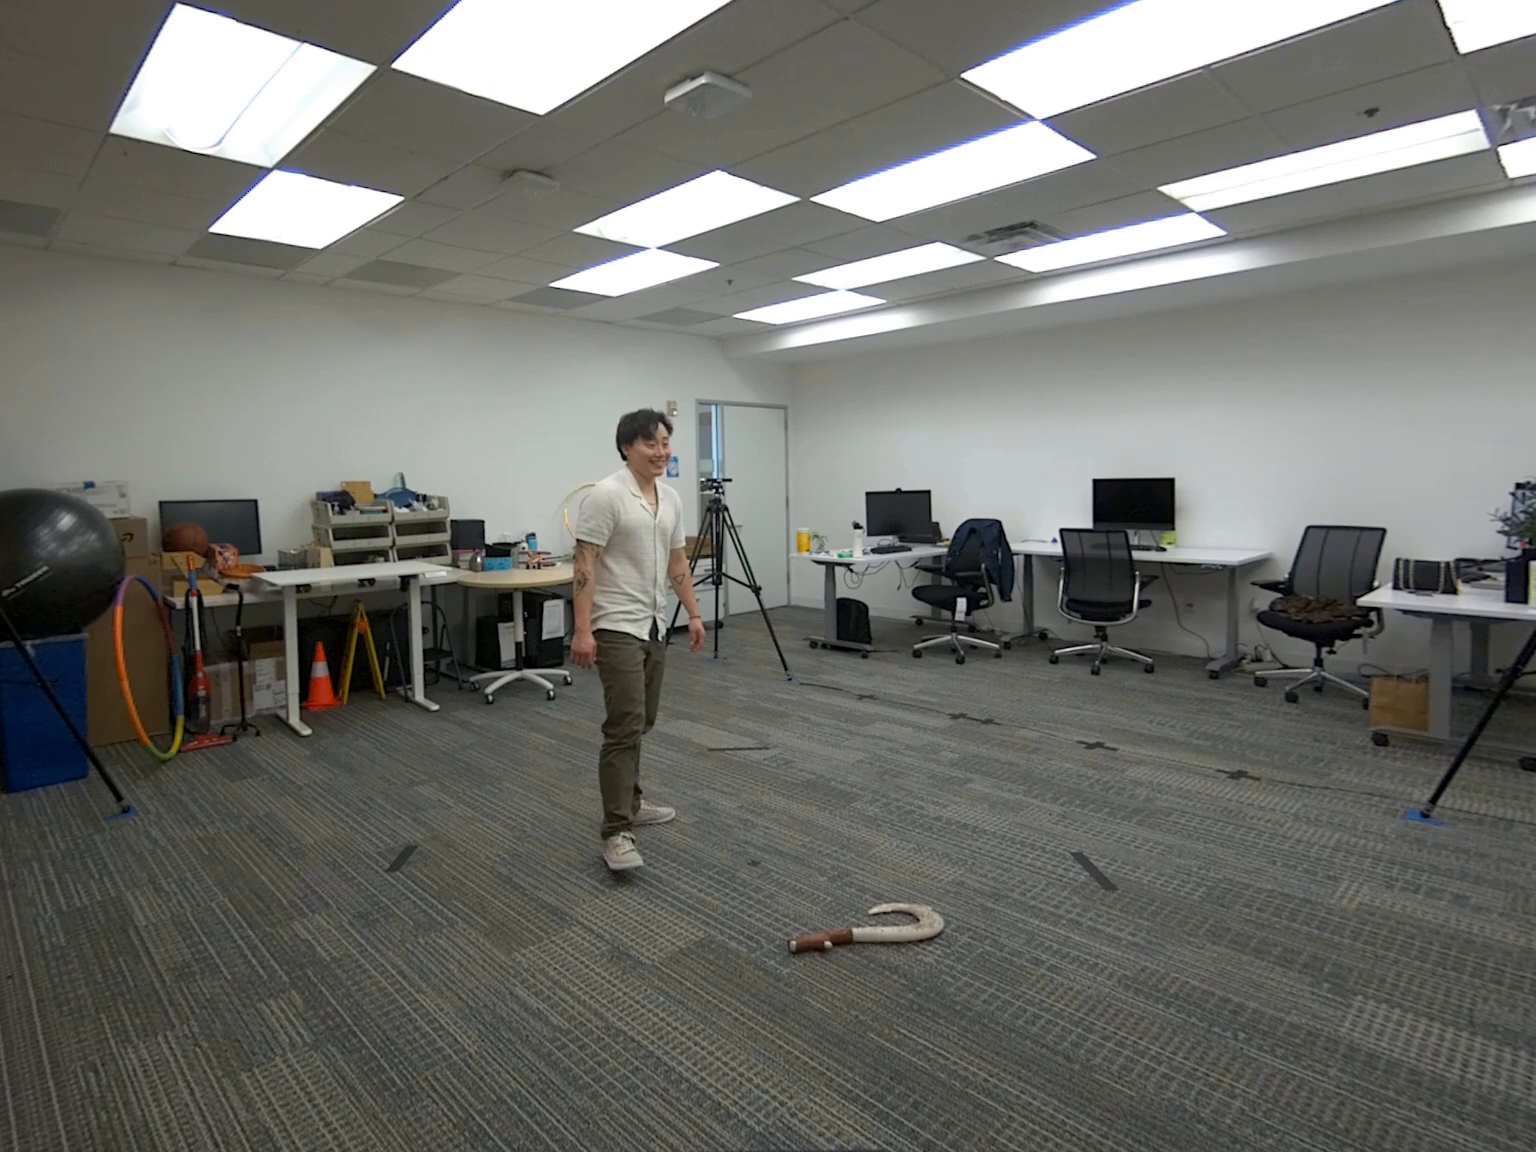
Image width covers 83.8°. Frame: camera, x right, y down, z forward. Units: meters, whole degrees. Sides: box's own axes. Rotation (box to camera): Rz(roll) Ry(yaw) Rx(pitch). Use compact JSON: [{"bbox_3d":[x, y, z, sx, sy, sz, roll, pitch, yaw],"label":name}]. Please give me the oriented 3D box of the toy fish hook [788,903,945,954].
[{"bbox_3d":[0.295,1.078,2.624,0.500,0.048,0.227,-2,-1,-14],"label":"toy fish hook"}]
